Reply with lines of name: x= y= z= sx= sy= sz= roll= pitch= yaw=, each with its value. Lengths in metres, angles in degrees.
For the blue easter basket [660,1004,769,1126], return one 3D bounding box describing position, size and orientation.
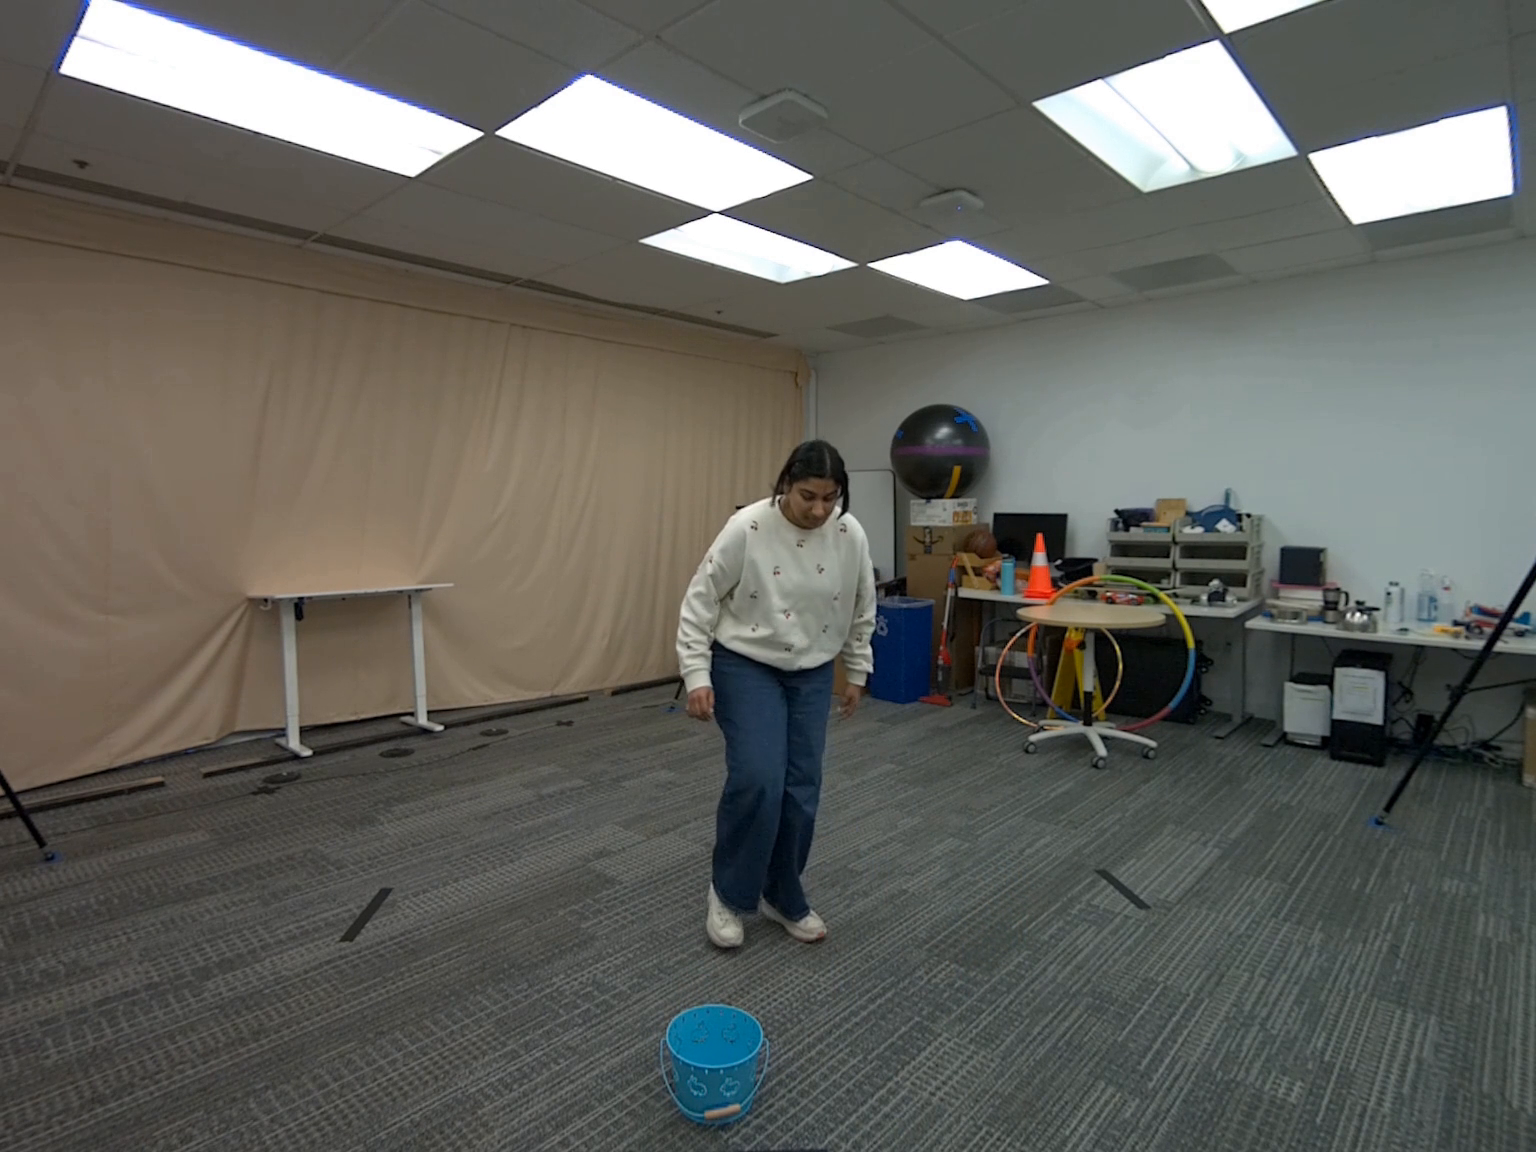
blue easter basket: x=-0.129 y=1.148 z=1.980 sx=0.243 sy=0.155 sz=0.244 roll=0 pitch=4 yaw=-2
